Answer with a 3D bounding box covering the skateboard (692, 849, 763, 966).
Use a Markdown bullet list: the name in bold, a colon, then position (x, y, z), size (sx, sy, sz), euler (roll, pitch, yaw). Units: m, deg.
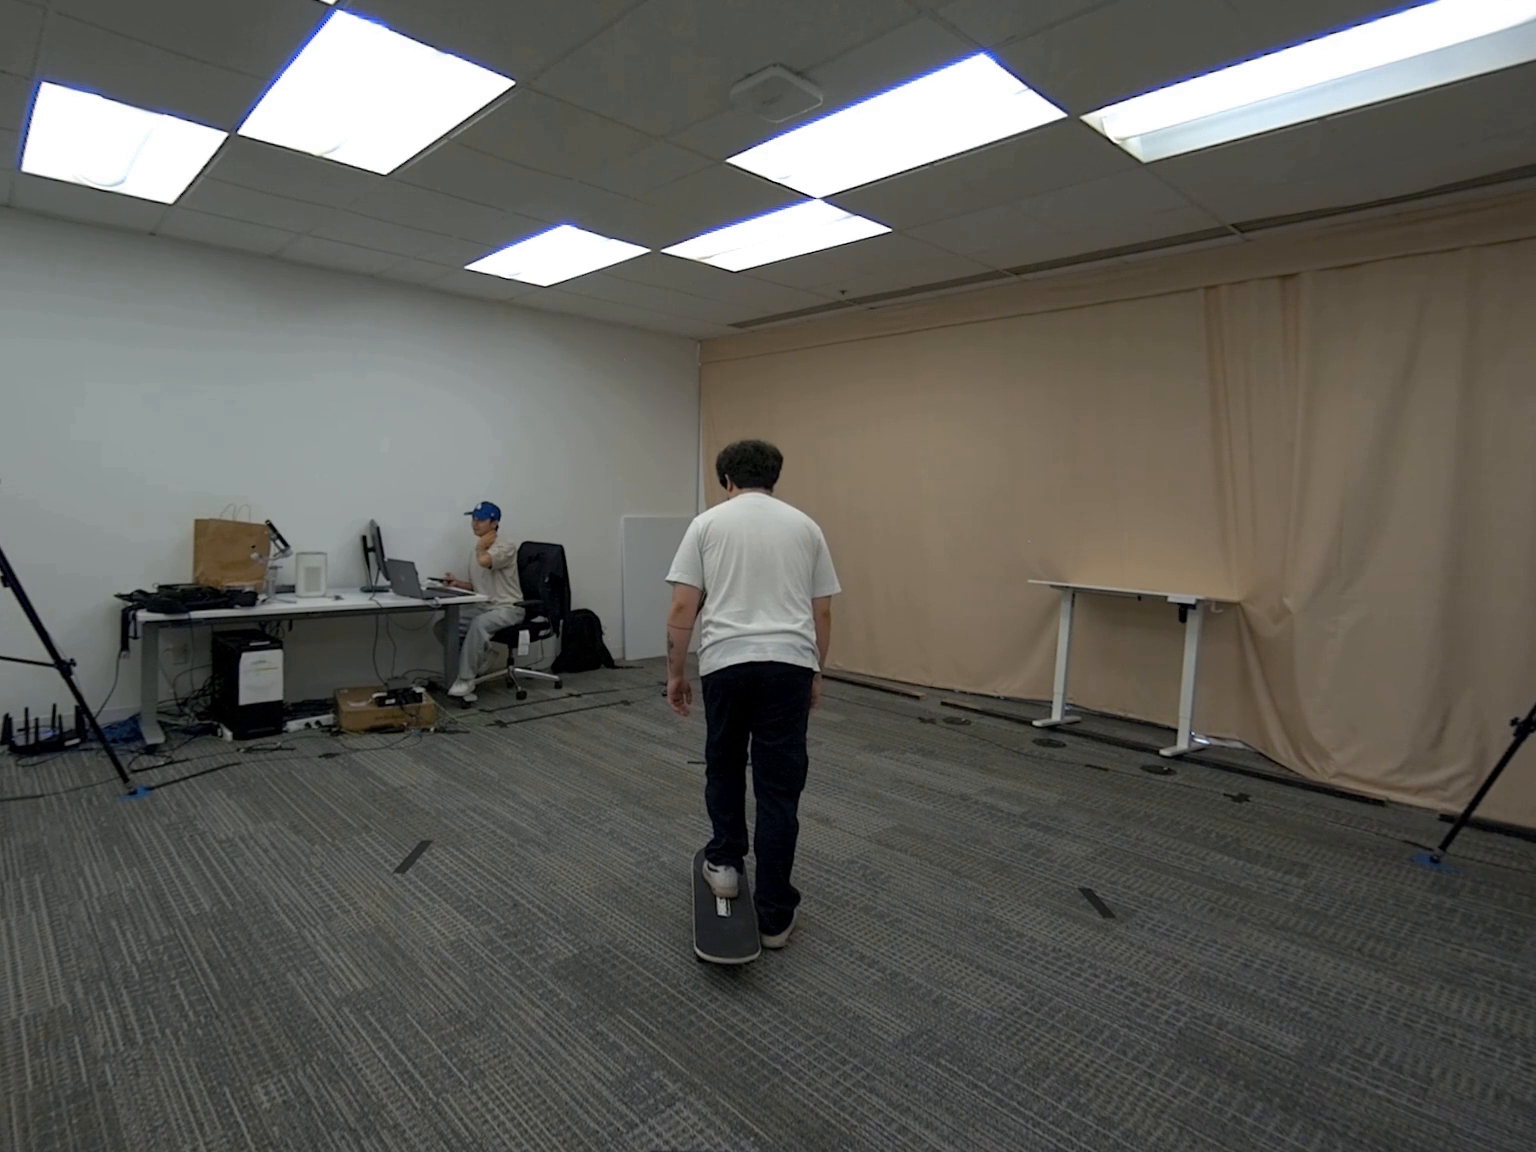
- **skateboard**: position (-0.150, 1.084, 2.737), size (0.193, 0.110, 0.790), euler (2, 5, -6)
